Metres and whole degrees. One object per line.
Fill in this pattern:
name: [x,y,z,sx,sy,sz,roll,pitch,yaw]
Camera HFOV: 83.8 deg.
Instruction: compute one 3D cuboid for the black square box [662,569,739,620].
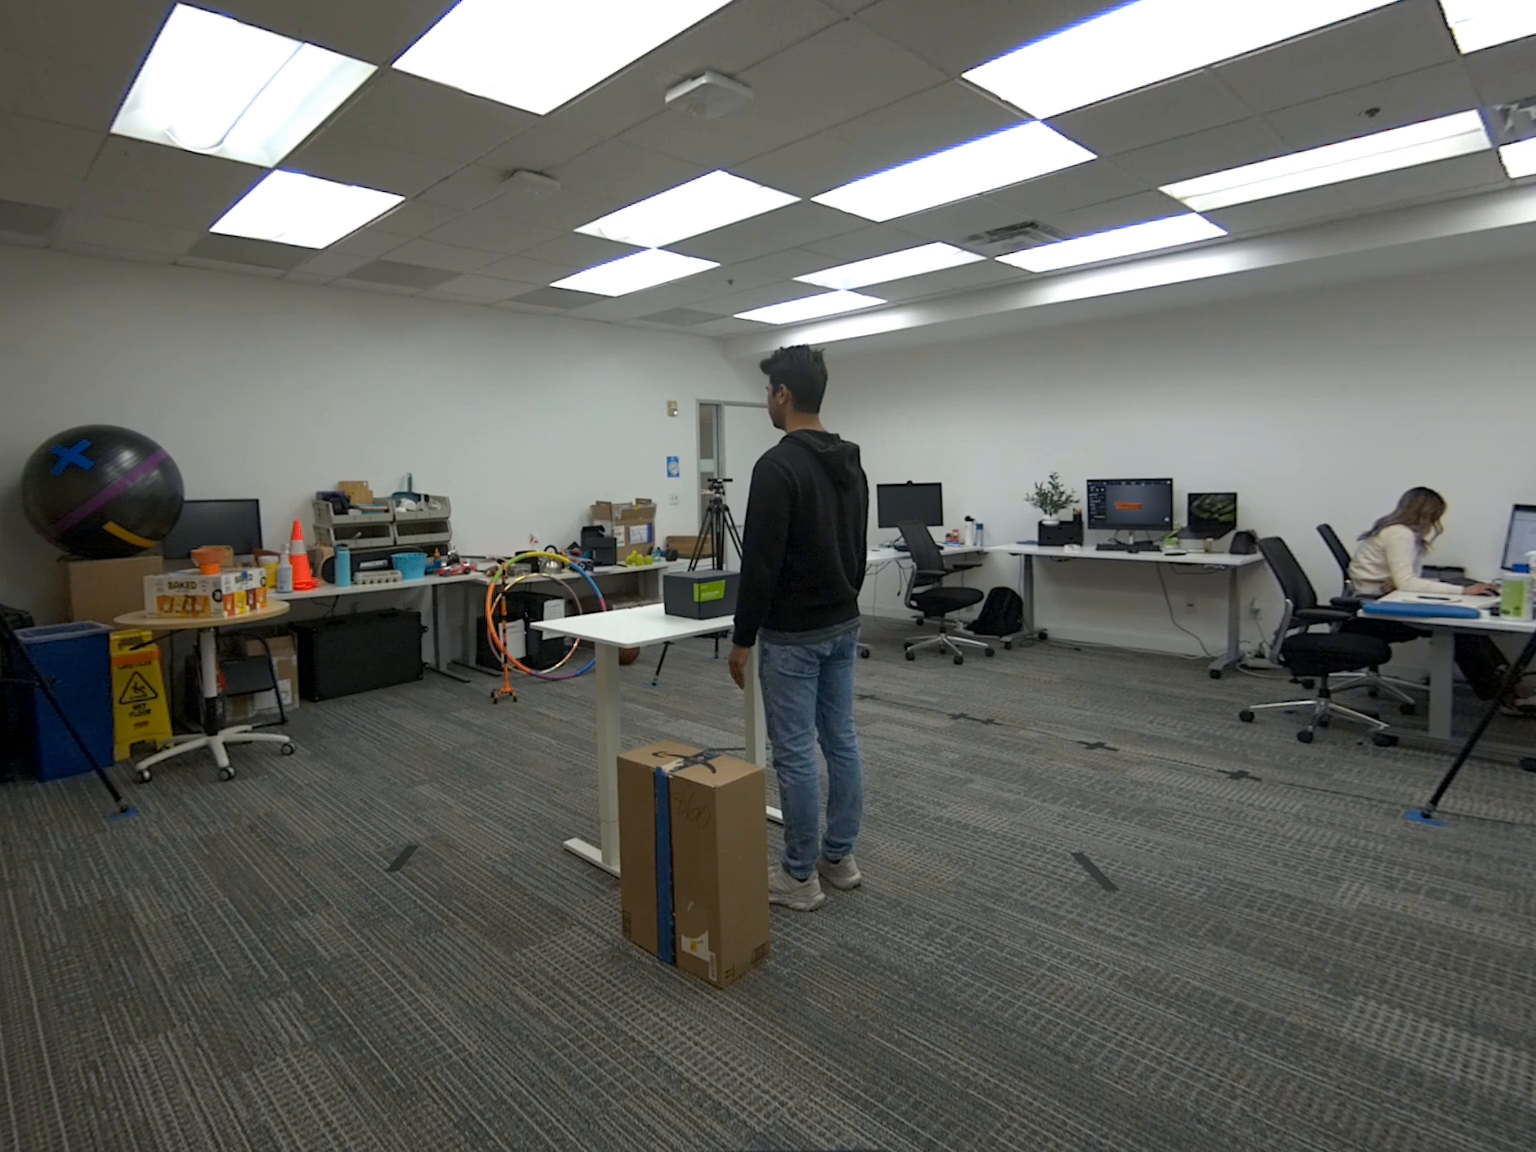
black square box: [-0.240,0.066,3.272,0.222,0.155,0.224,-6,8,-44]
